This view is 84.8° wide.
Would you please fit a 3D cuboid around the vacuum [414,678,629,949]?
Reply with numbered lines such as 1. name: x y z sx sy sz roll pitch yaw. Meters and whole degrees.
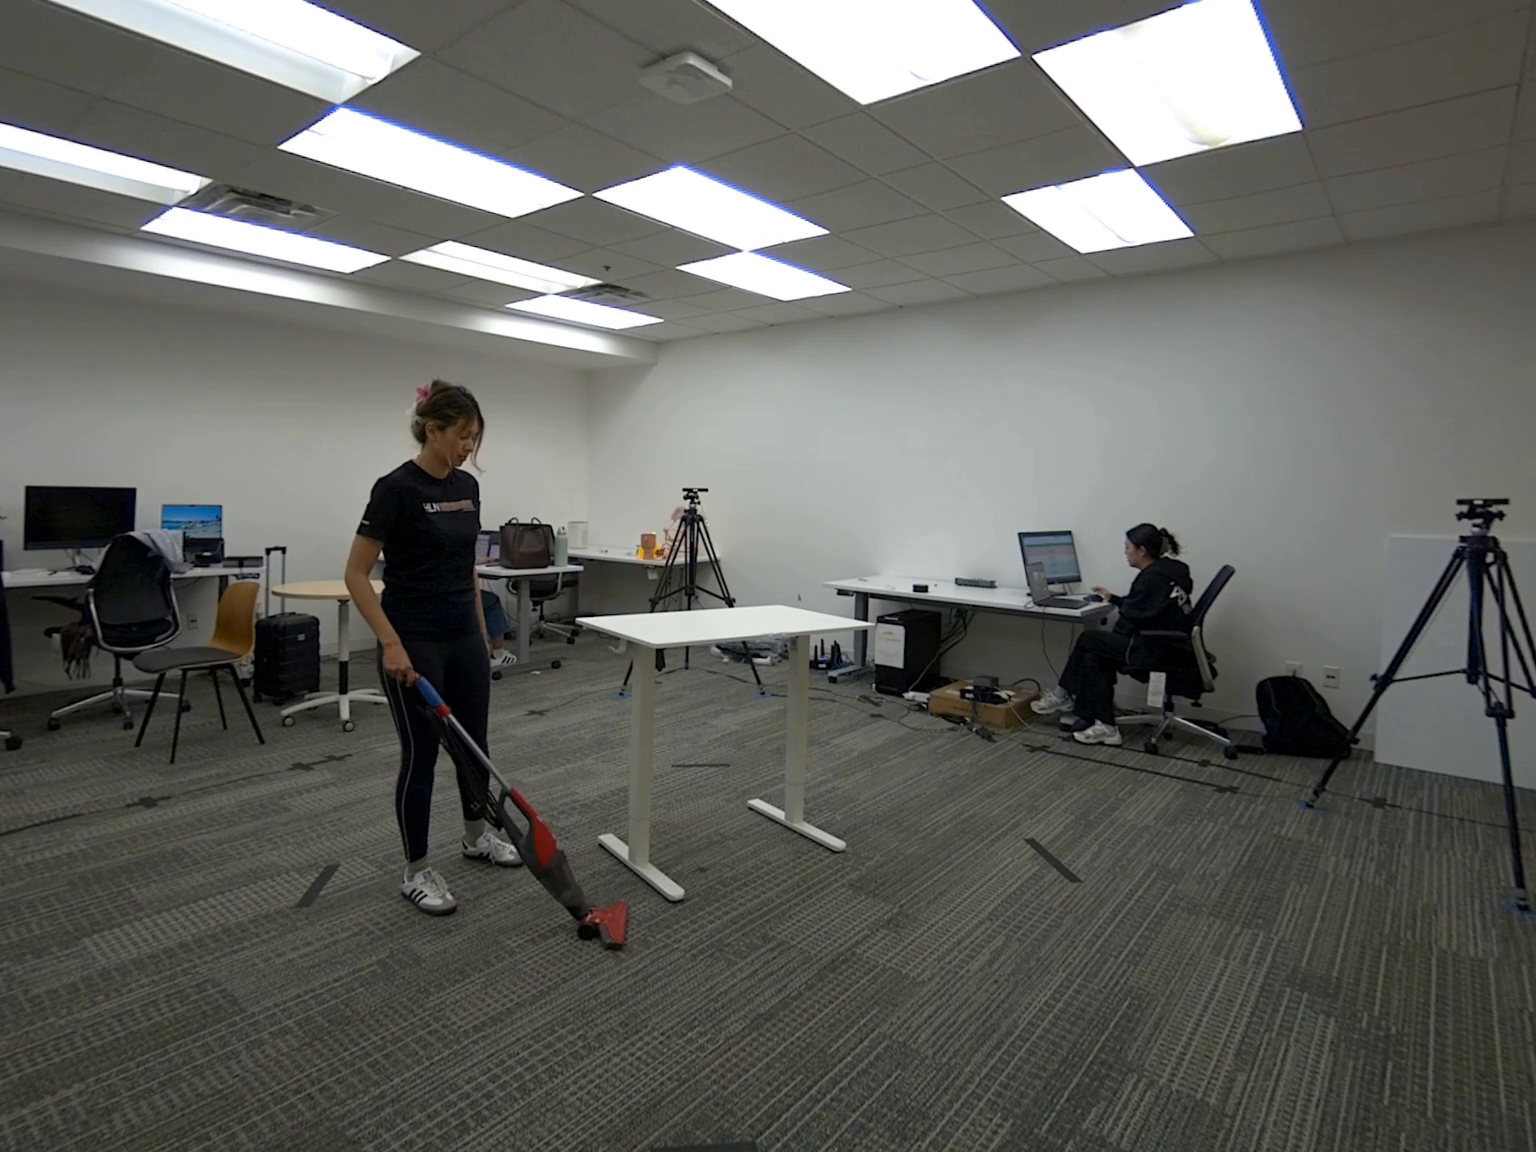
1. vacuum: -0.840 0.686 2.631 0.144 1.044 0.254 -38 3 2
